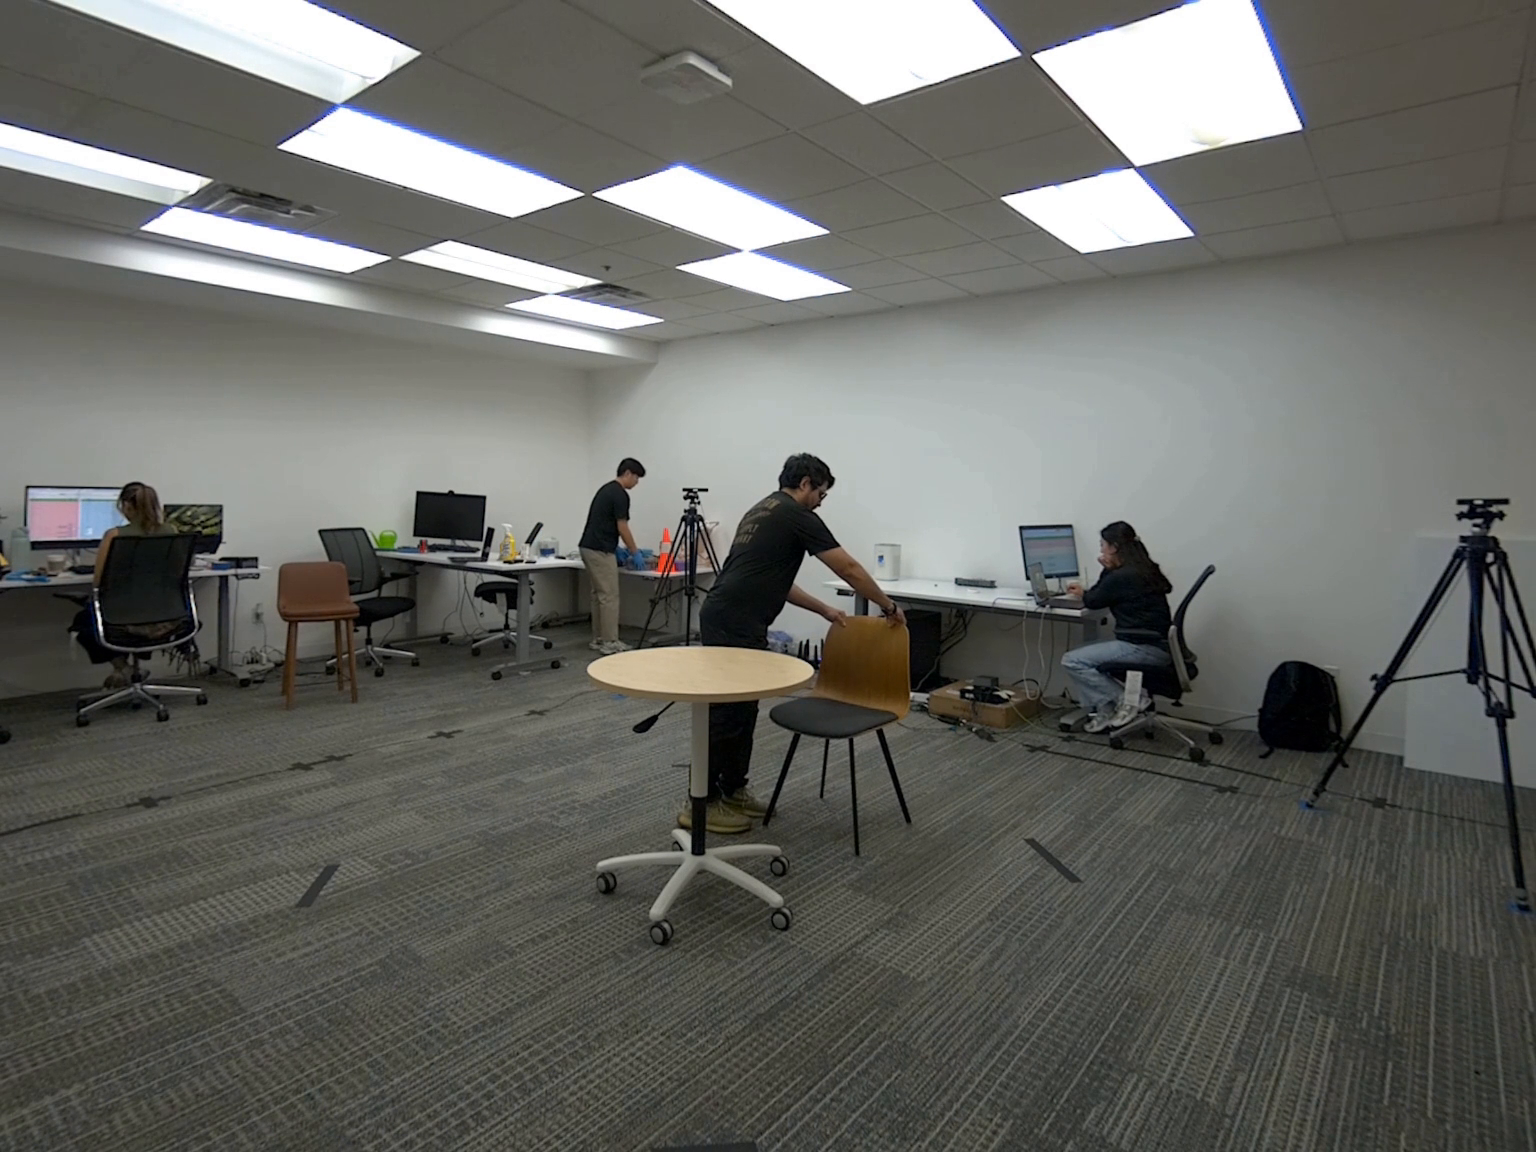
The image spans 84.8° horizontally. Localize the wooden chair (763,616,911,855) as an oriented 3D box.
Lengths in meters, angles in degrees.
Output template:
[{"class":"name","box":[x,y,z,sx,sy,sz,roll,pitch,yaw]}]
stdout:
[{"class":"wooden chair","box":[0.292,0.610,3.527,0.494,0.877,0.506,5,0,37]}]
